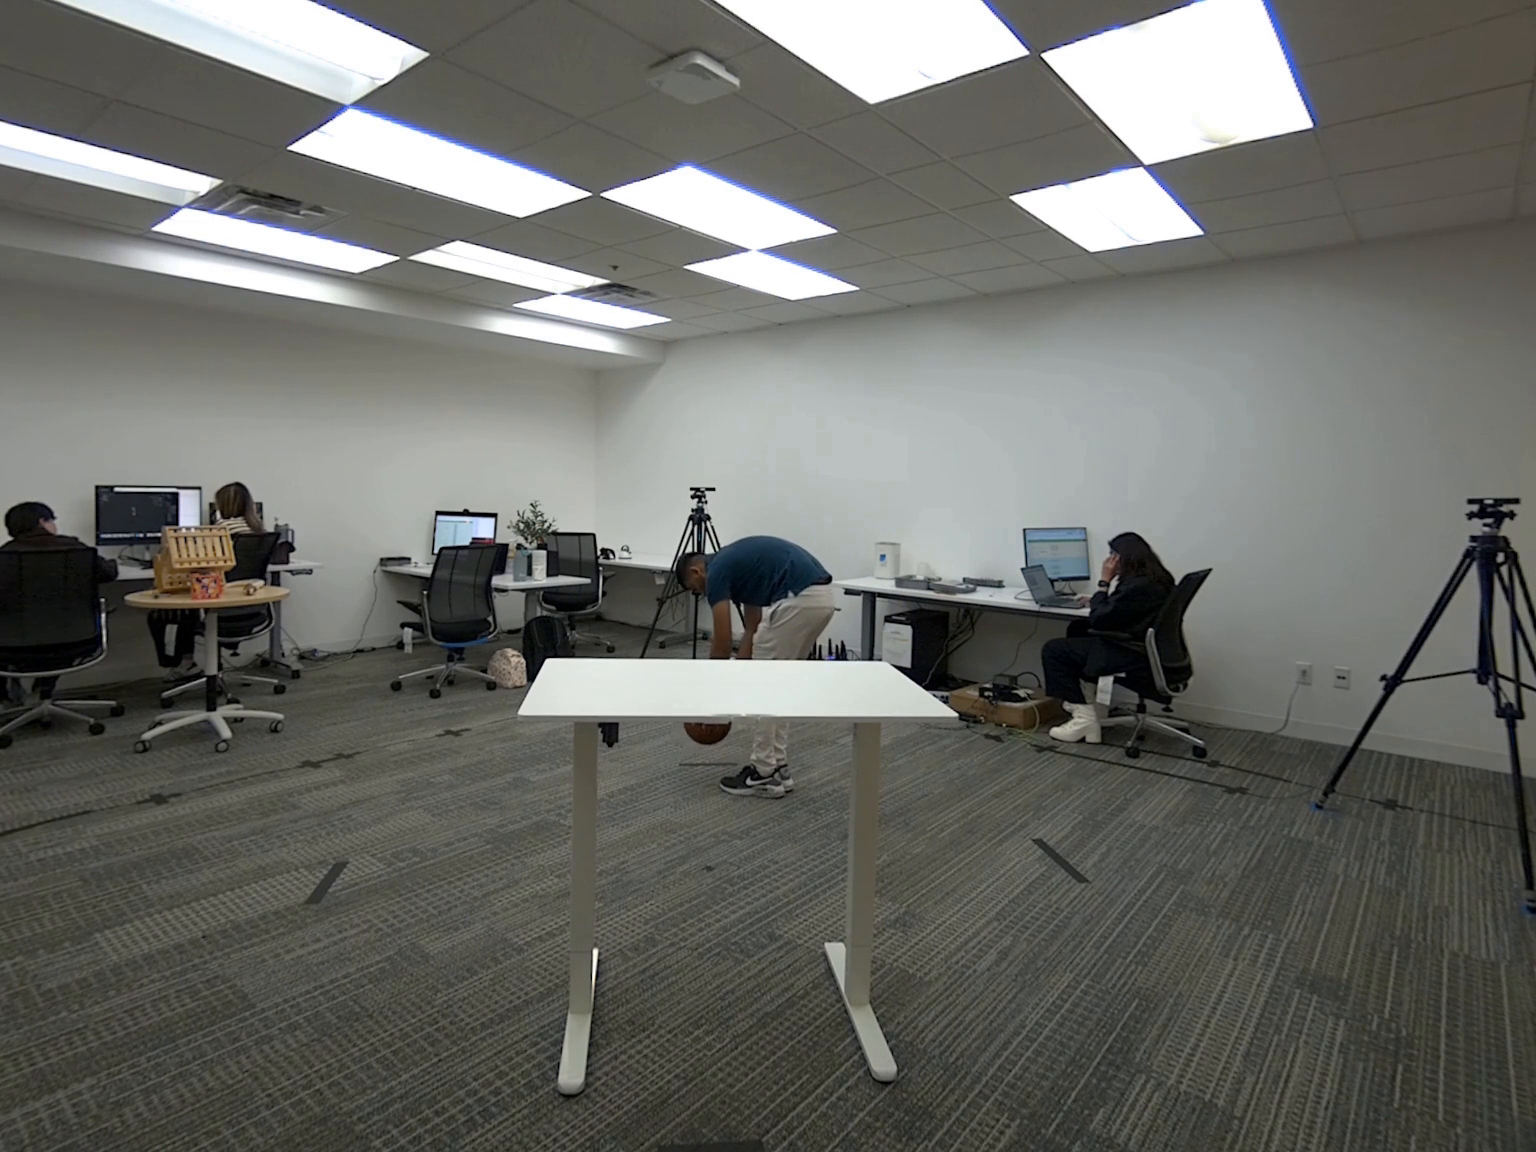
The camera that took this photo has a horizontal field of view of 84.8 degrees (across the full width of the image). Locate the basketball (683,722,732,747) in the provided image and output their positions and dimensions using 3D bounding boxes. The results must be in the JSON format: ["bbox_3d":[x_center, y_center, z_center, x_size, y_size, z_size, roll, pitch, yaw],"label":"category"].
[{"bbox_3d":[-0.301,0.681,4.133,0.235,0.235,0.237,1,4,-2],"label":"basketball"}]
